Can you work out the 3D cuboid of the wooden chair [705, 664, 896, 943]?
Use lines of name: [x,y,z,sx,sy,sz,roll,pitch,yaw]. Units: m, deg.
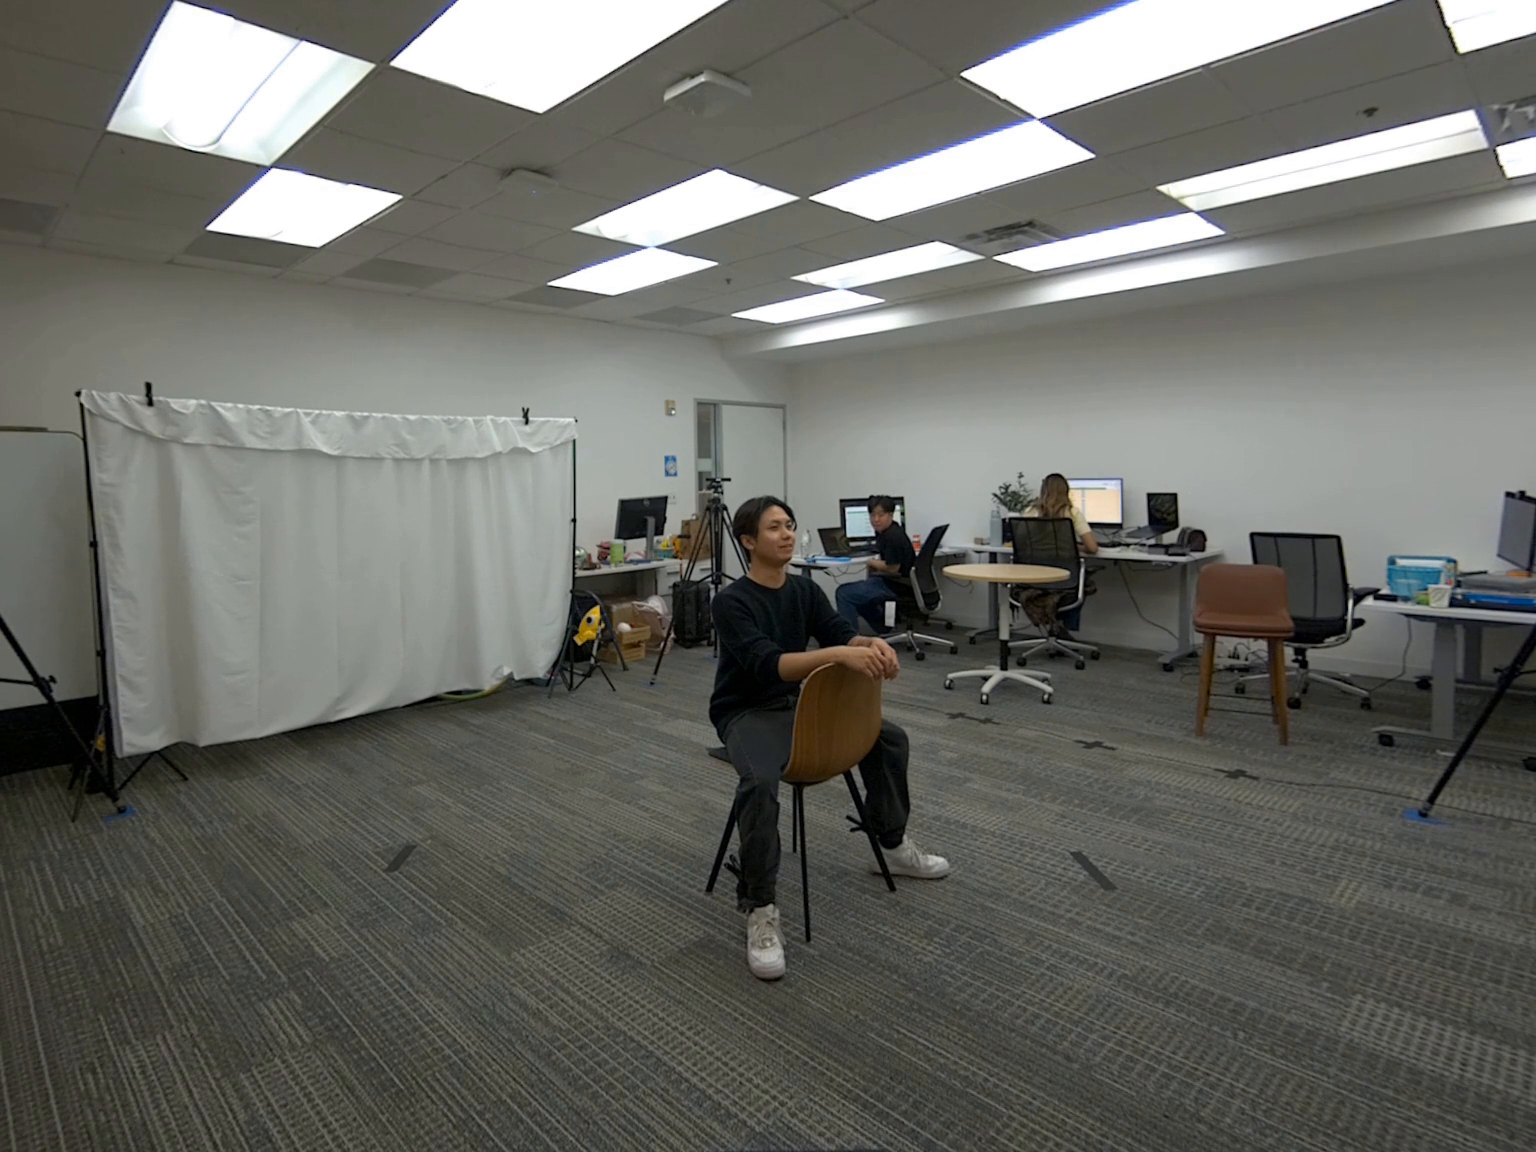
wooden chair: [0.090,0.636,2.863,0.465,0.872,0.540,-5,10,-44]
